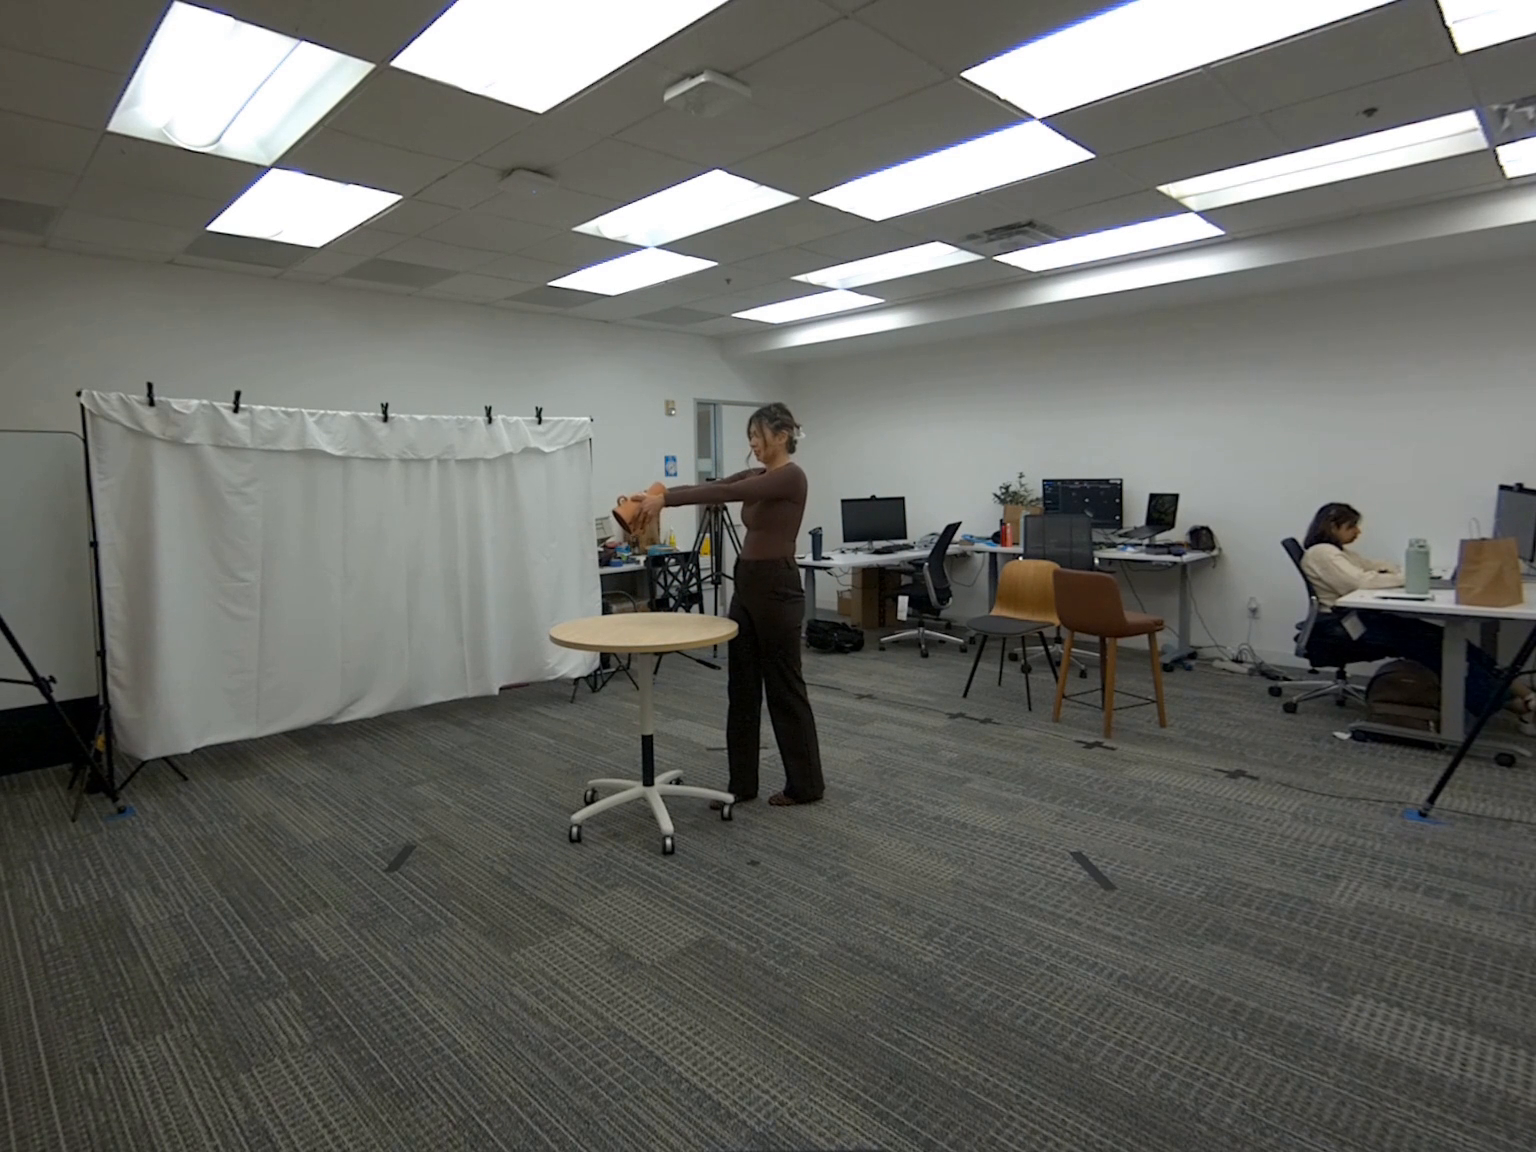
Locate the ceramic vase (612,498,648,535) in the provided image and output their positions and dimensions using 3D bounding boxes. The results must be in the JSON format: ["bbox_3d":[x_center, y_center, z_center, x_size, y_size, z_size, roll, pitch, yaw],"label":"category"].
[{"bbox_3d":[-0.500,-0.276,3.422,0.219,0.137,0.156,-41,-15,-17],"label":"ceramic vase"}]
